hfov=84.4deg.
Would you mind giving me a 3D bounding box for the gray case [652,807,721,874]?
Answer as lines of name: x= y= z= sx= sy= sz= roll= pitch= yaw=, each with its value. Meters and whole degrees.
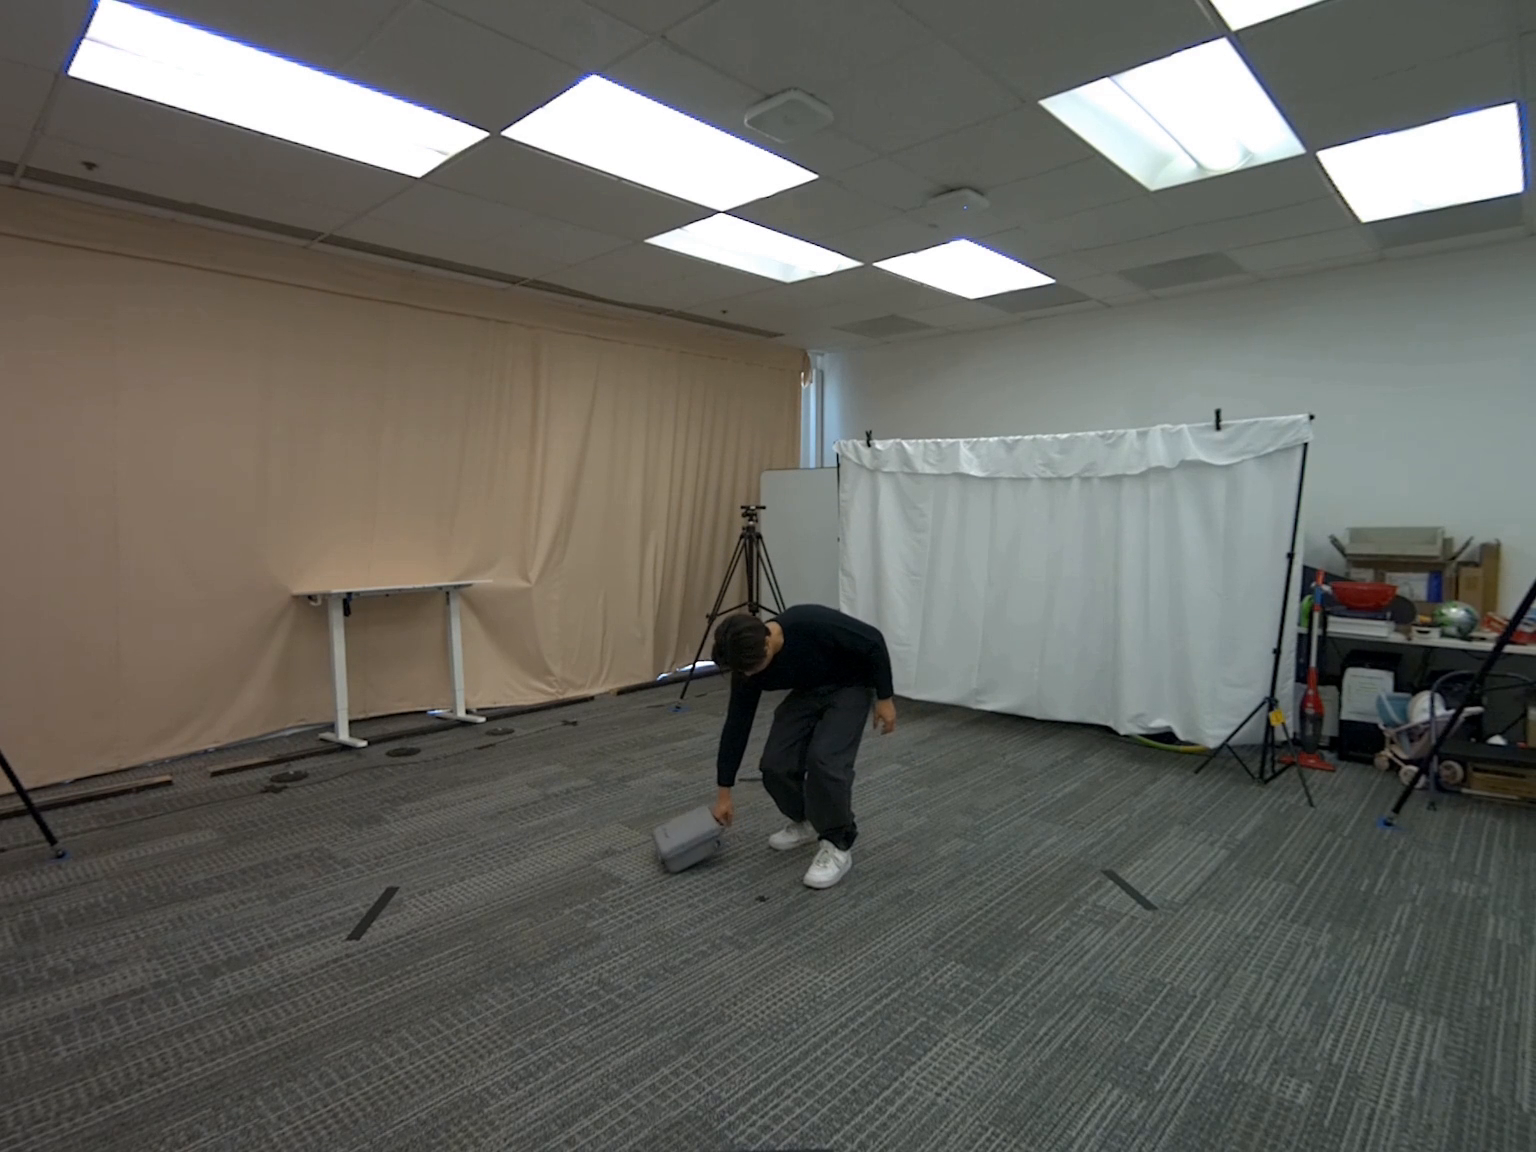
gray case: x=-0.311 y=1.028 z=3.316 sx=0.259 sy=0.103 sz=0.261 roll=-24 pitch=10 yaw=-10
